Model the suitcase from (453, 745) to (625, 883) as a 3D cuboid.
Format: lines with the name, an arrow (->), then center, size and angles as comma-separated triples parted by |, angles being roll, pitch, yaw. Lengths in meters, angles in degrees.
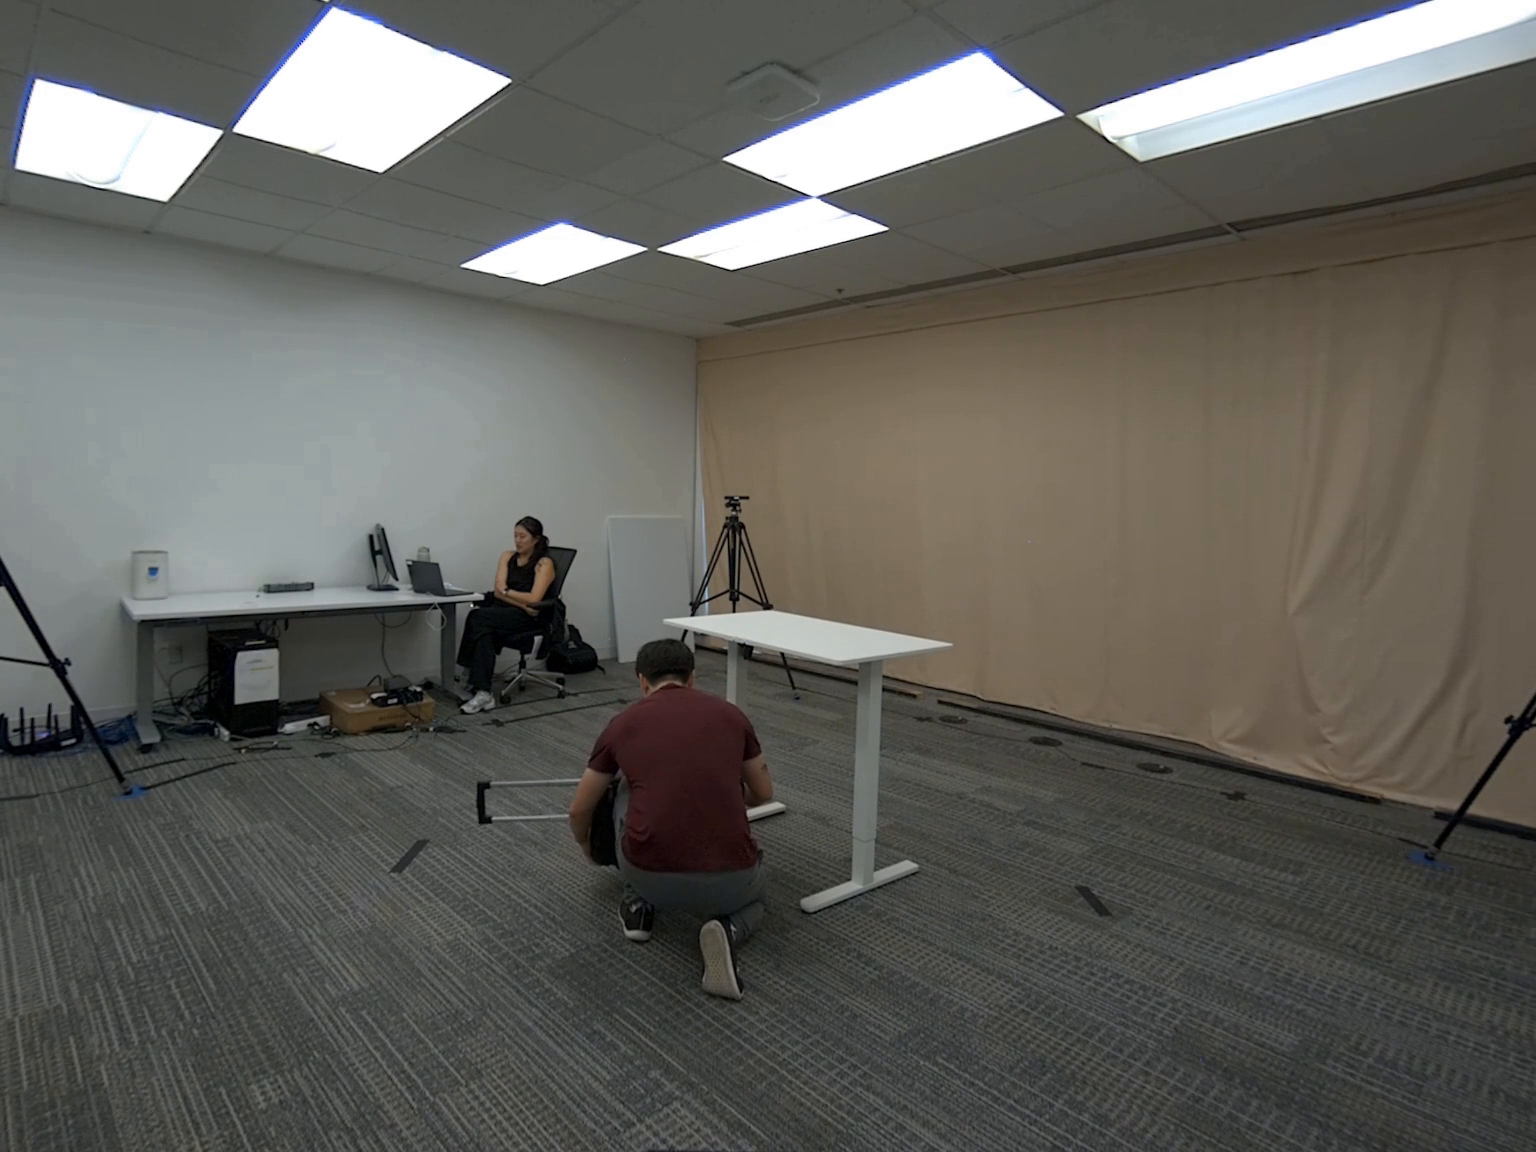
suitcase -> -0.578, 0.832, 2.988 | 0.979, 0.382, 0.258 | 1, 6, 0
